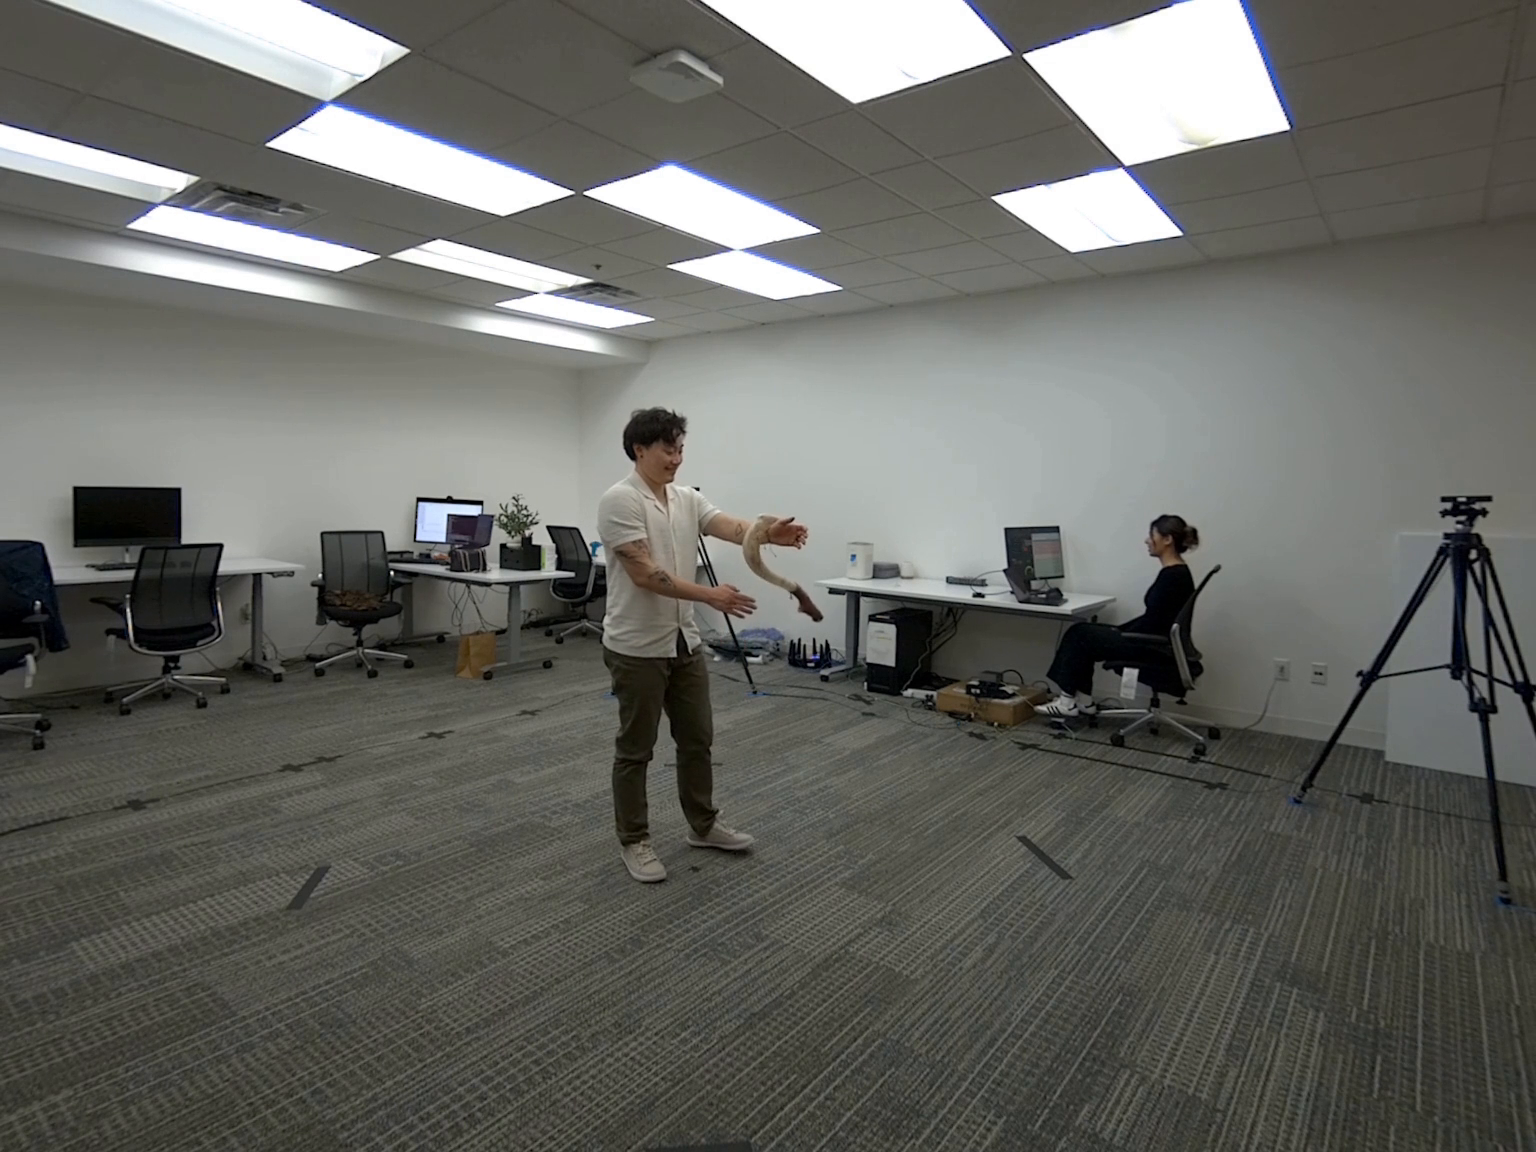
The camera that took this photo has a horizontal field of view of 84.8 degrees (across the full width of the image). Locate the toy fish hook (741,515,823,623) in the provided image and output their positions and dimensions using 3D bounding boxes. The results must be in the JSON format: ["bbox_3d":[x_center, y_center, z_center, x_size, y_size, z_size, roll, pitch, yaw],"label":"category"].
[{"bbox_3d":[0.071,-0.022,3.005,0.050,0.225,0.487,21,-21,53],"label":"toy fish hook"}]
